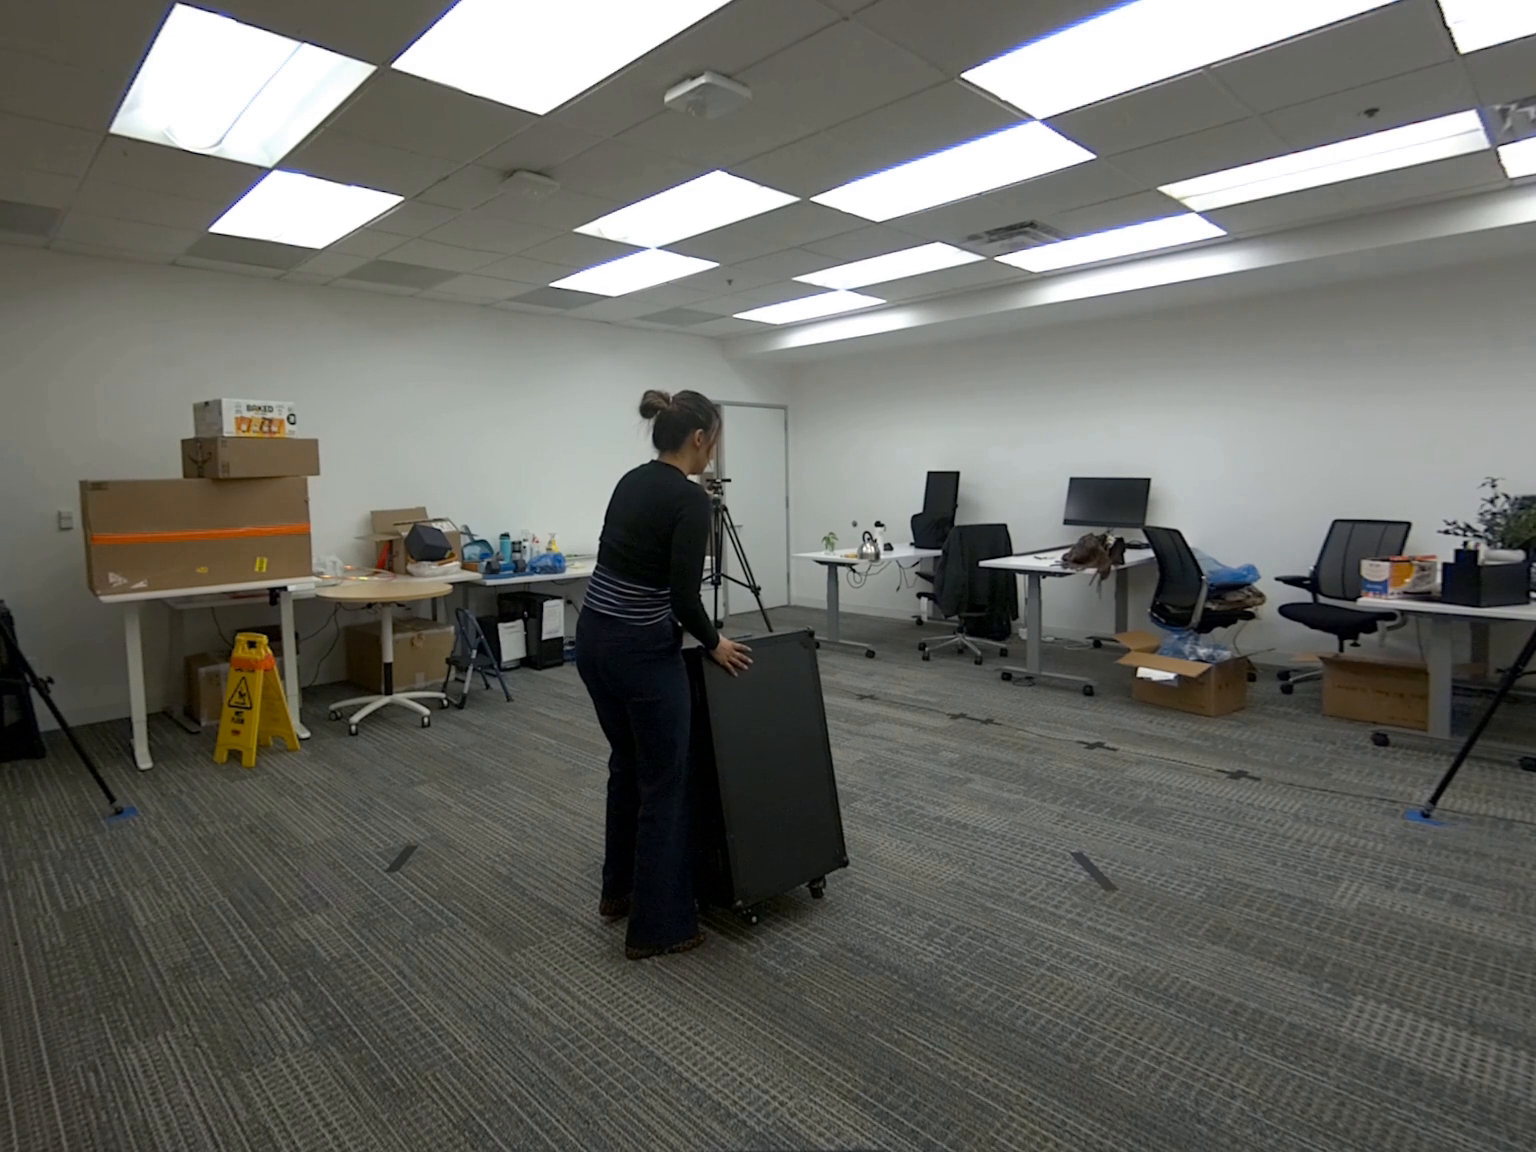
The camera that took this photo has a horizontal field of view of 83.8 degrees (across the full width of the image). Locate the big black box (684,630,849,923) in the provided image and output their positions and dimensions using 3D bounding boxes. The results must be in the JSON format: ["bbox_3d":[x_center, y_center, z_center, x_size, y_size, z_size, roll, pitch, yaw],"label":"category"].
[{"bbox_3d":[-0.082,0.581,2.849,0.507,0.865,0.405,-5,-5,-39],"label":"big black box"}]
